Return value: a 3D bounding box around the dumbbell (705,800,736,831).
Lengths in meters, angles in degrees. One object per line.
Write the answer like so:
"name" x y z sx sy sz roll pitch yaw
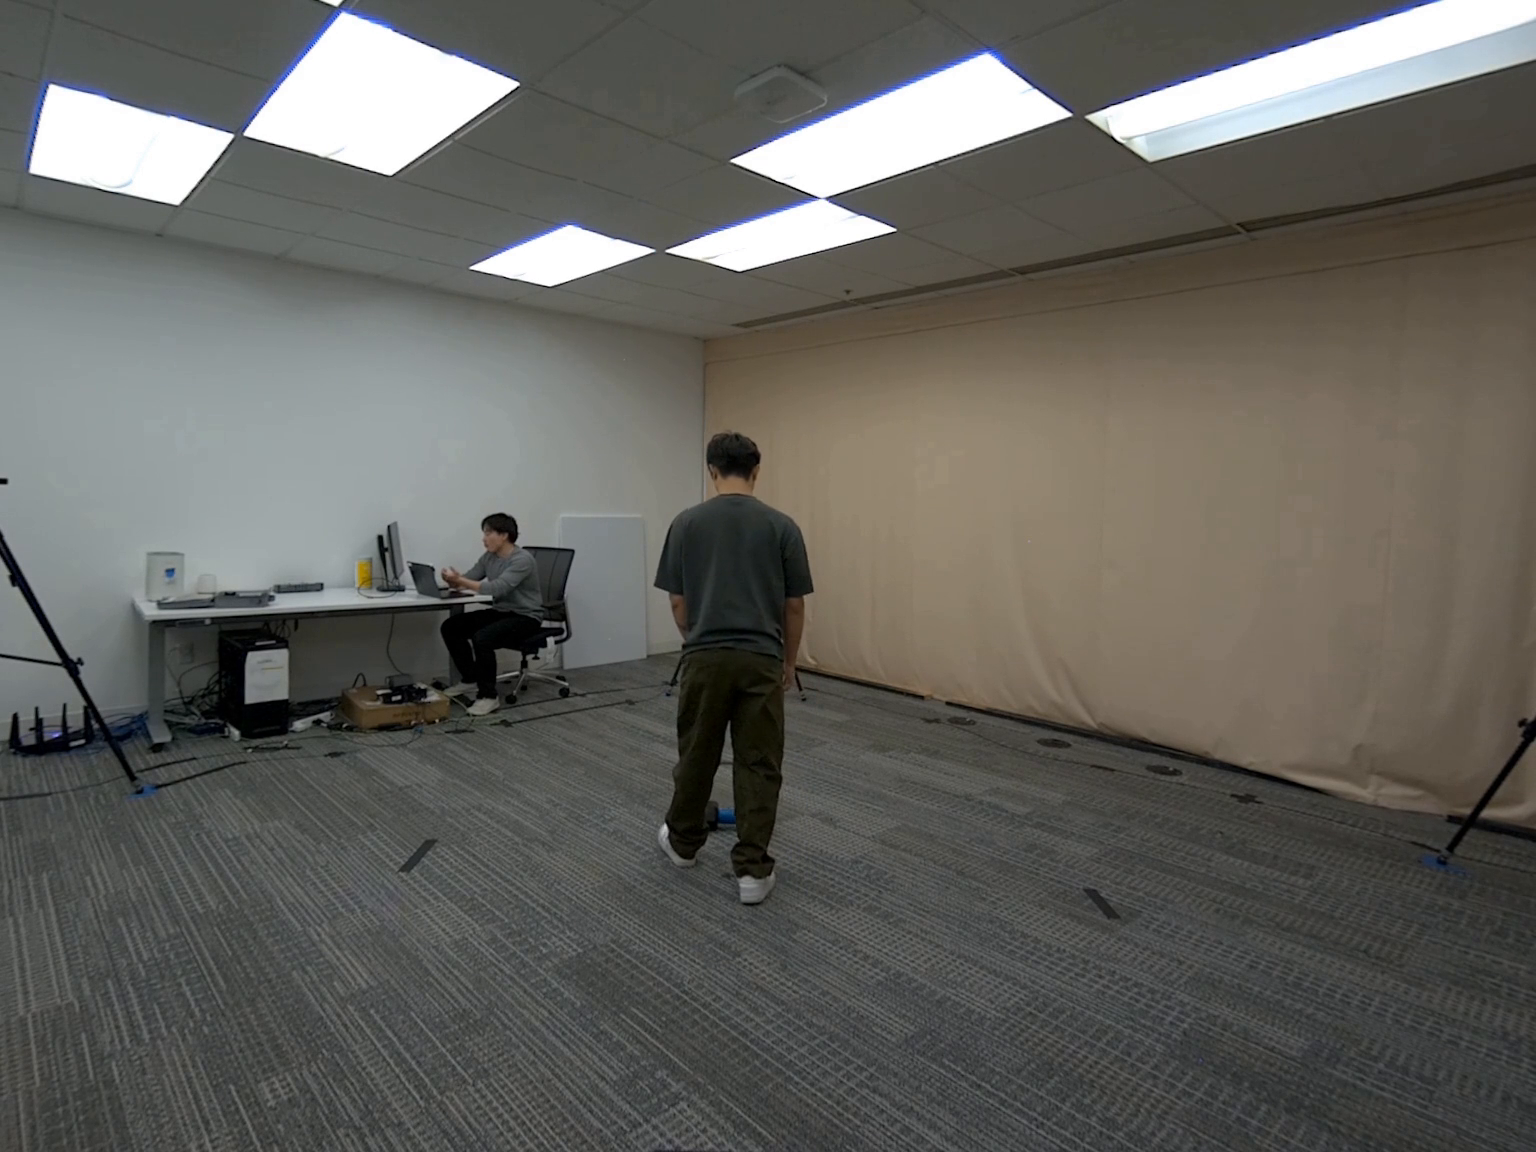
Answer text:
"dumbbell" -0.154 1.019 3.543 0.294 0.120 0.110 2 34 3
